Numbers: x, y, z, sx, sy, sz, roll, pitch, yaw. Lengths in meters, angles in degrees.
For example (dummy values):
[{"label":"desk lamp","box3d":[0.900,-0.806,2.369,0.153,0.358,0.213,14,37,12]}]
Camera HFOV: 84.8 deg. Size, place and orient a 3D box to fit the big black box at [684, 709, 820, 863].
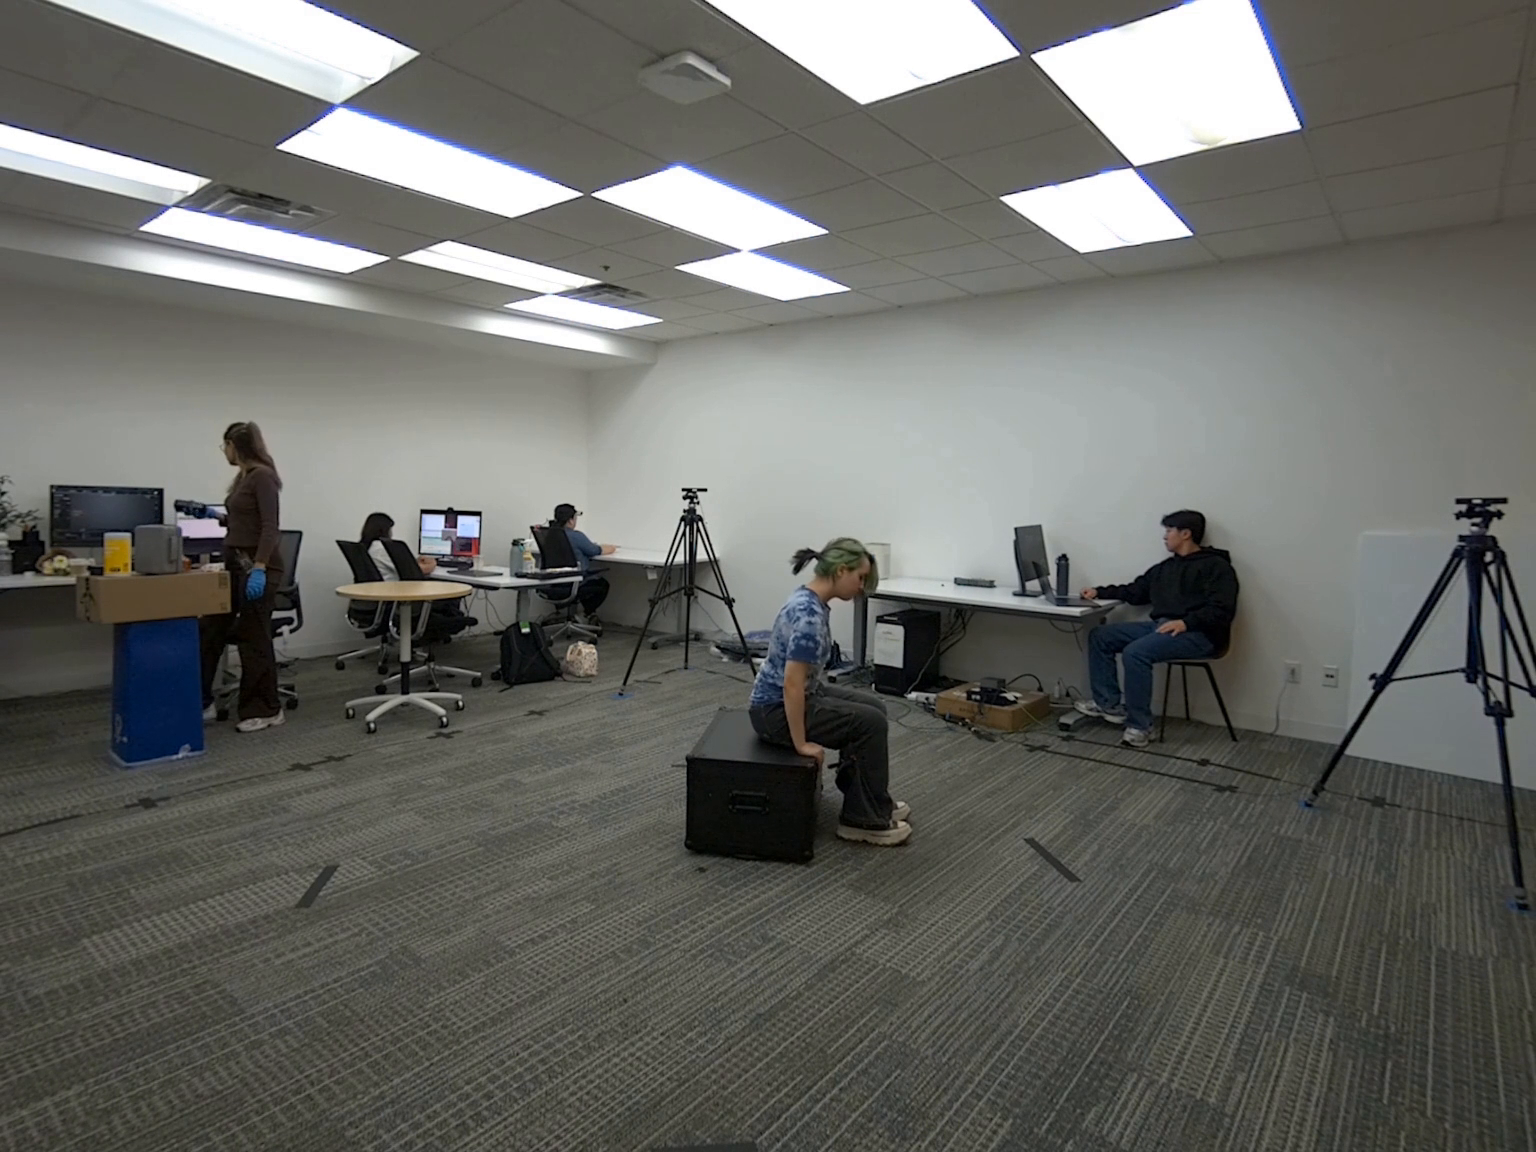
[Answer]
[{"label":"big black box","box3d":[-0.035,0.833,3.586,0.526,0.395,0.857,1,5,7]}]
